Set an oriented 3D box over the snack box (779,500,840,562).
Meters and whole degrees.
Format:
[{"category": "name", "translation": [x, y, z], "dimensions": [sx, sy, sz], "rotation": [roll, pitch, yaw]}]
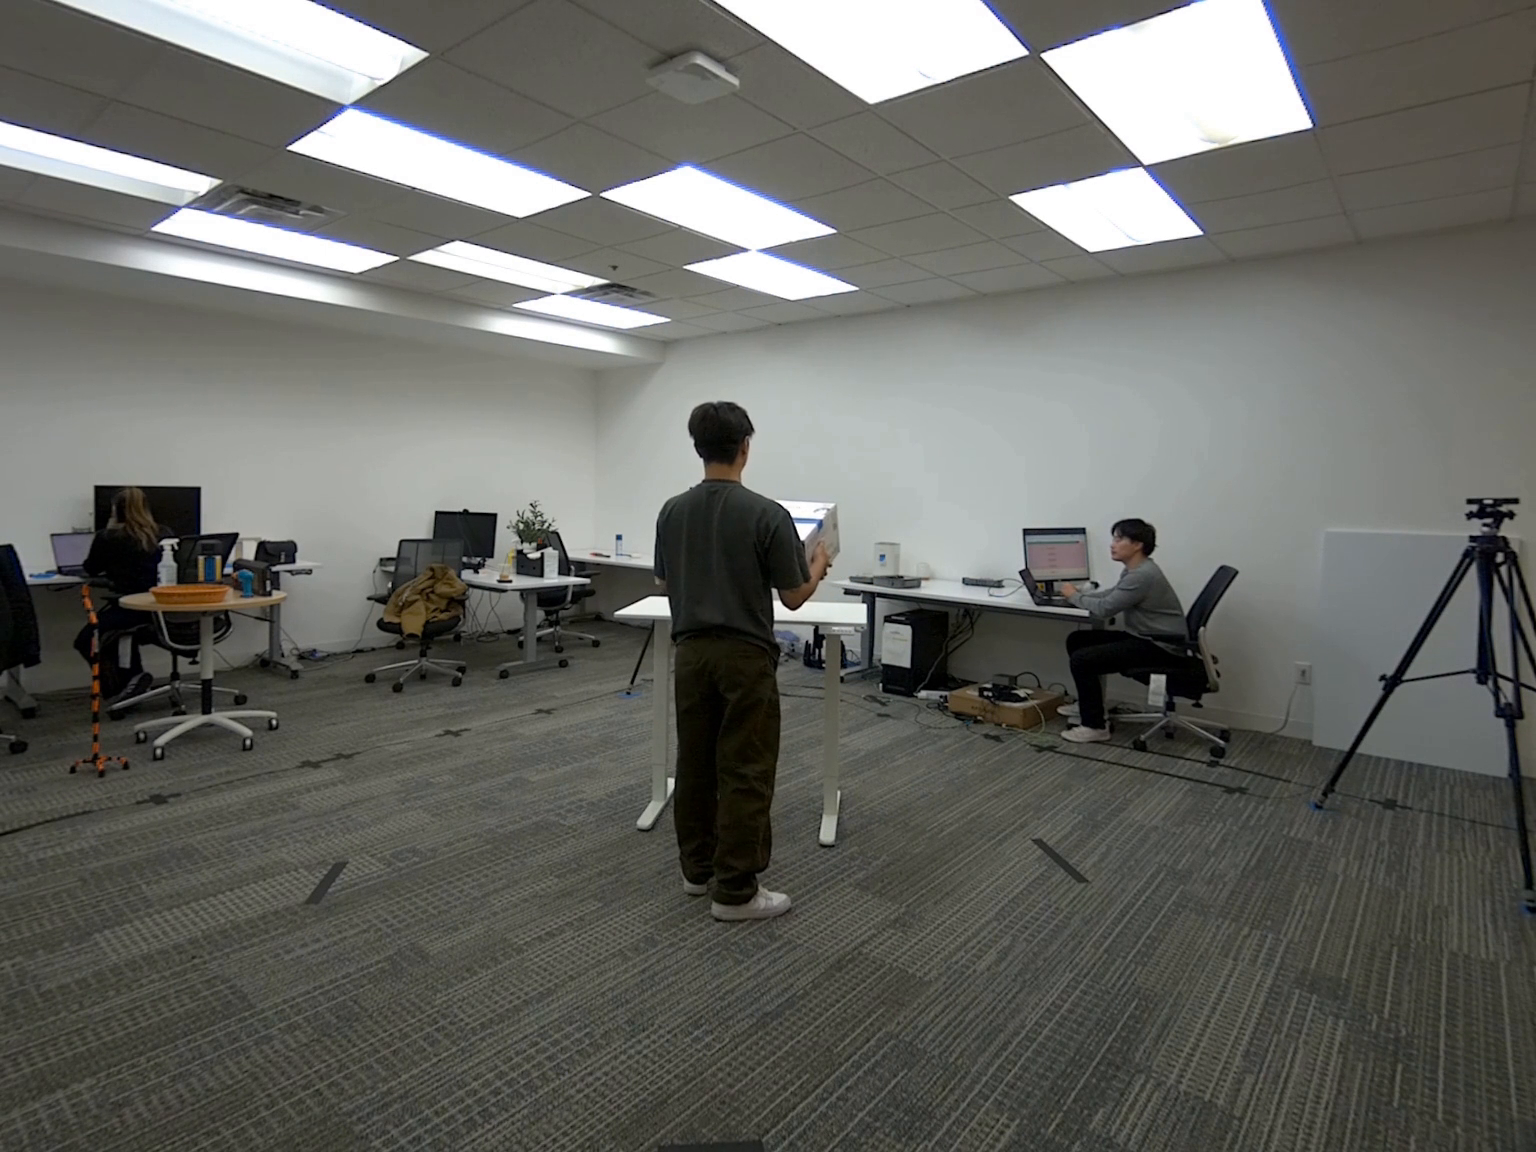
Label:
[{"category": "snack box", "translation": [0.005, -0.124, 3.140], "dimensions": [0.416, 0.201, 0.339], "rotation": [6, 27, 25]}]
